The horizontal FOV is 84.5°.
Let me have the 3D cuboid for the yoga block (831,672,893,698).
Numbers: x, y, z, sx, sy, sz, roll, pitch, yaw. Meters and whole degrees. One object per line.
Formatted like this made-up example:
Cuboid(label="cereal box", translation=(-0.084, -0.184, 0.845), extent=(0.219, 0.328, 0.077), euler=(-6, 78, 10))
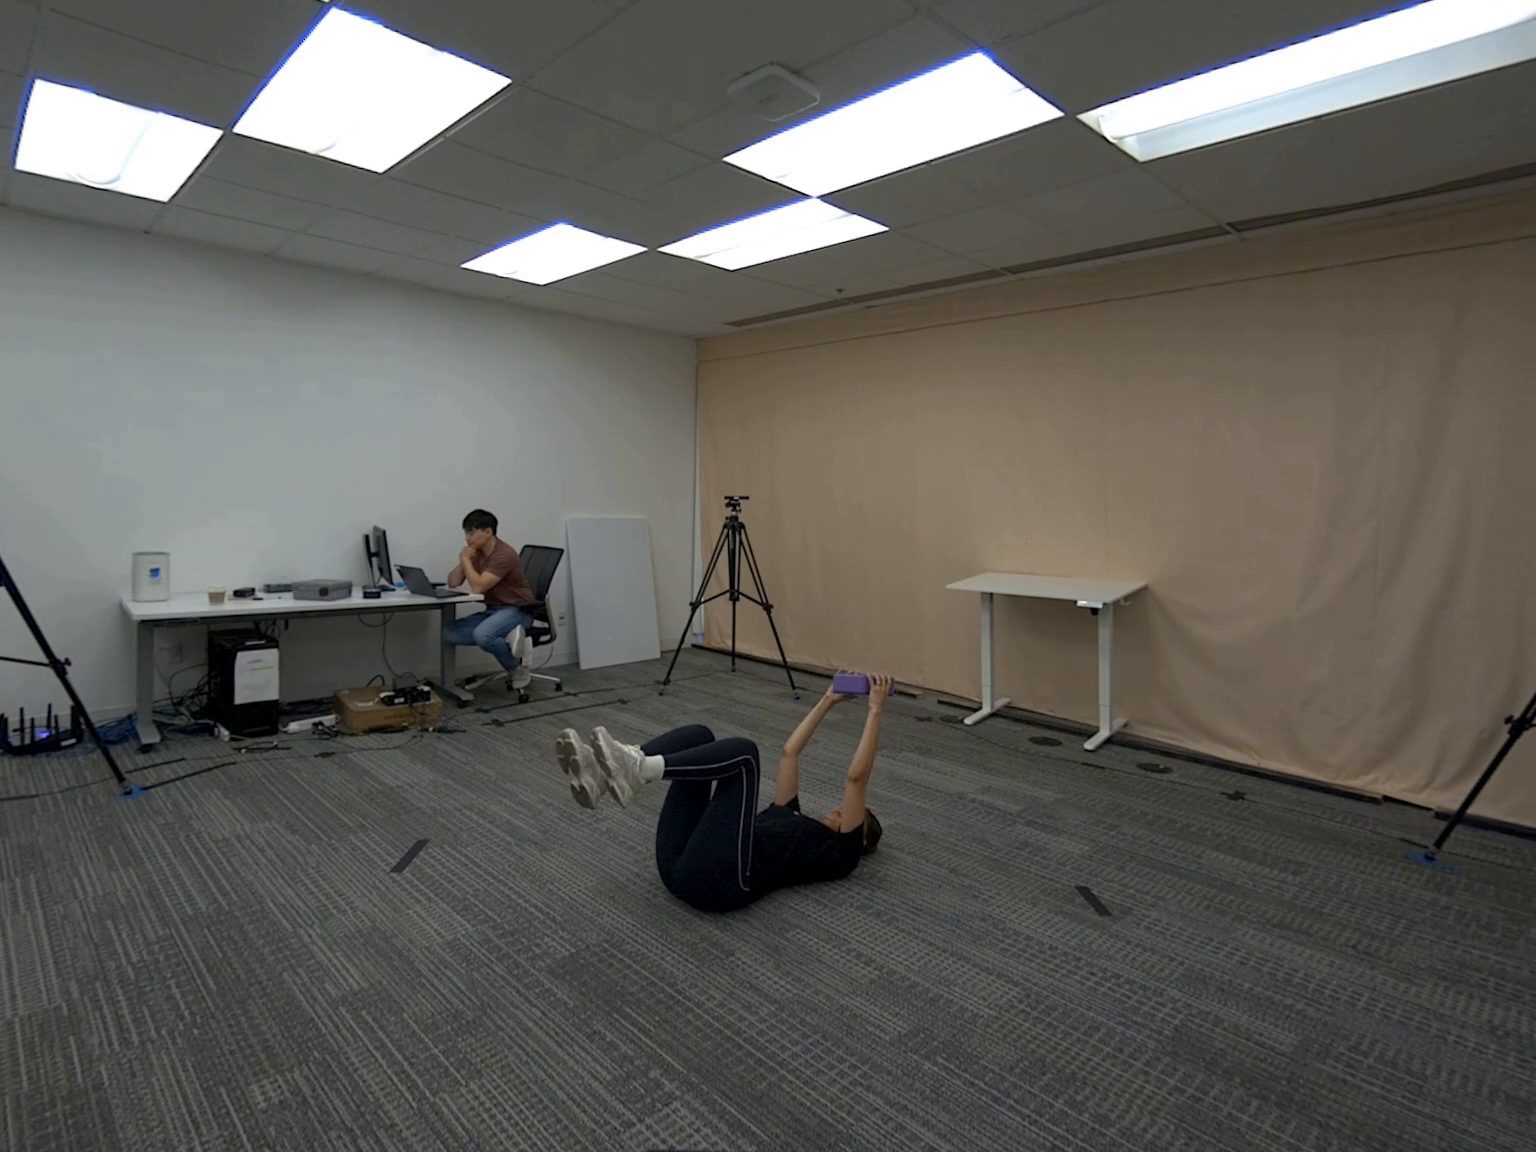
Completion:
Cuboid(label="yoga block", translation=(0.370, 0.428, 3.318), extent=(0.146, 0.077, 0.232), euler=(8, -9, -25))
